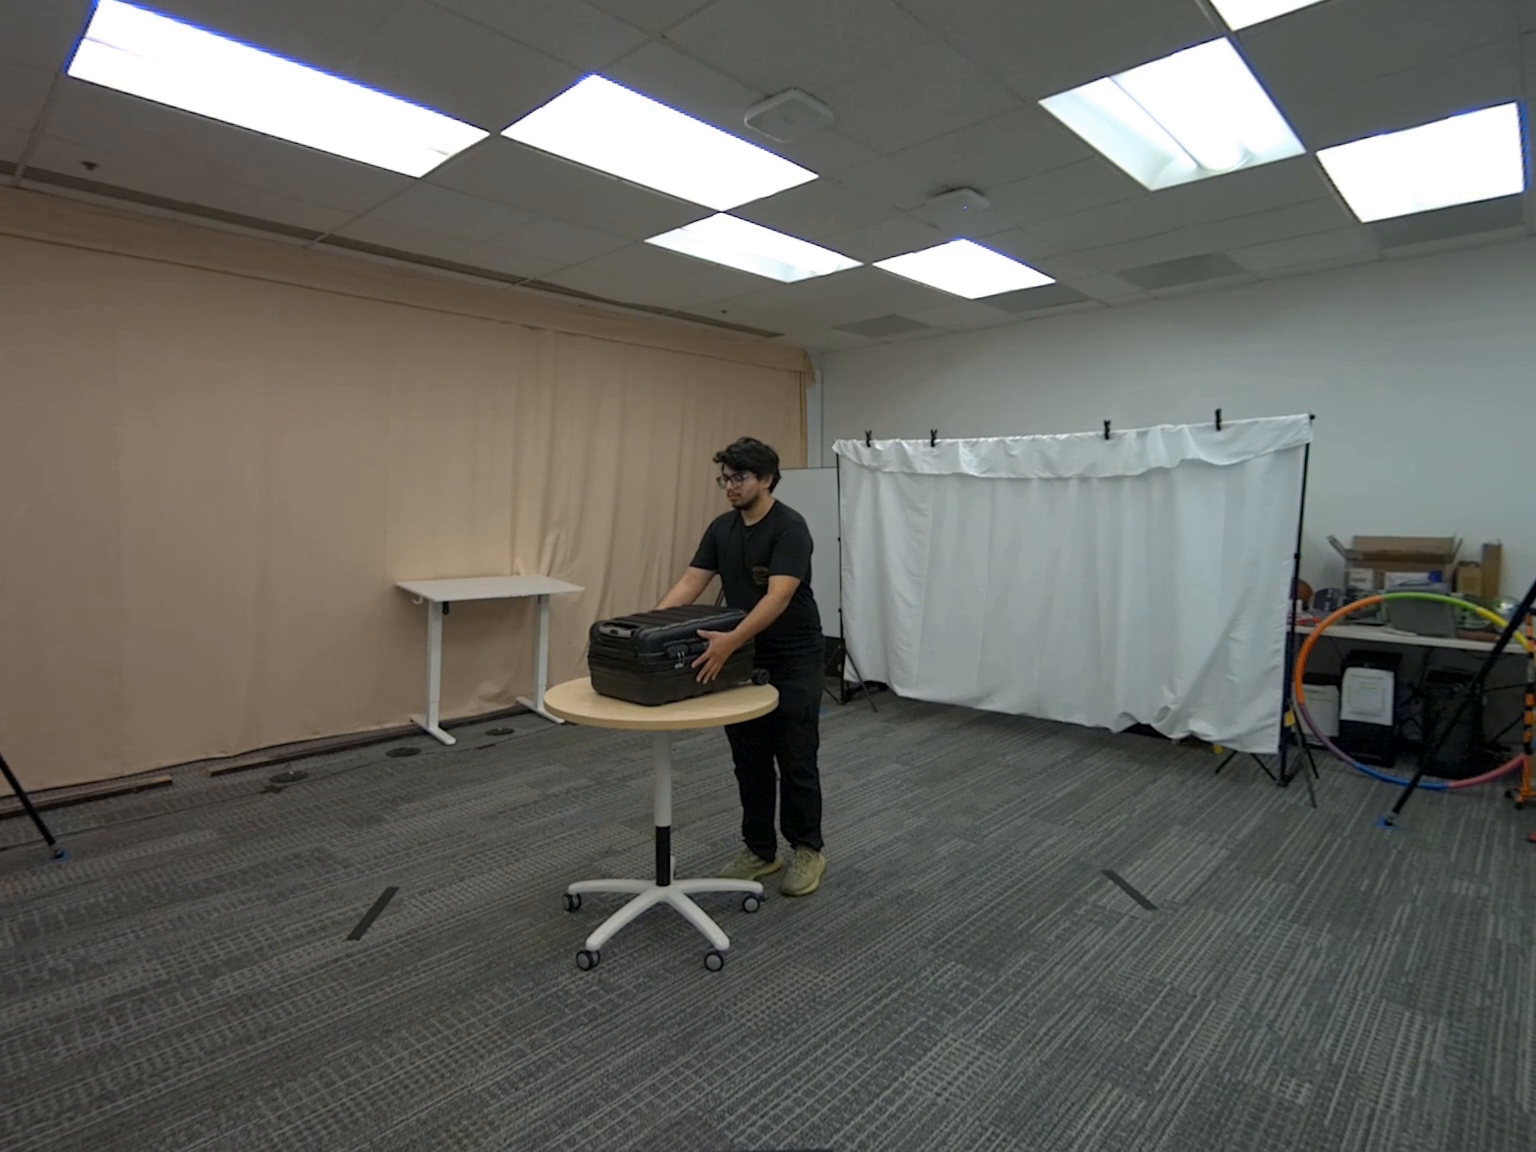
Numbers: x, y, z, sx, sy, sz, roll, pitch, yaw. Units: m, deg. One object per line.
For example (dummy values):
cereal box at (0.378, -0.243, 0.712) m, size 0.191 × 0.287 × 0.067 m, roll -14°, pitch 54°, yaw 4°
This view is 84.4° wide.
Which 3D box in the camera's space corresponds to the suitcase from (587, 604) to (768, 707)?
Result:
suitcase at (-0.310, 0.256, 2.798) m, size 0.388 × 0.247 × 0.533 m, roll 5°, pitch 8°, yaw 42°
